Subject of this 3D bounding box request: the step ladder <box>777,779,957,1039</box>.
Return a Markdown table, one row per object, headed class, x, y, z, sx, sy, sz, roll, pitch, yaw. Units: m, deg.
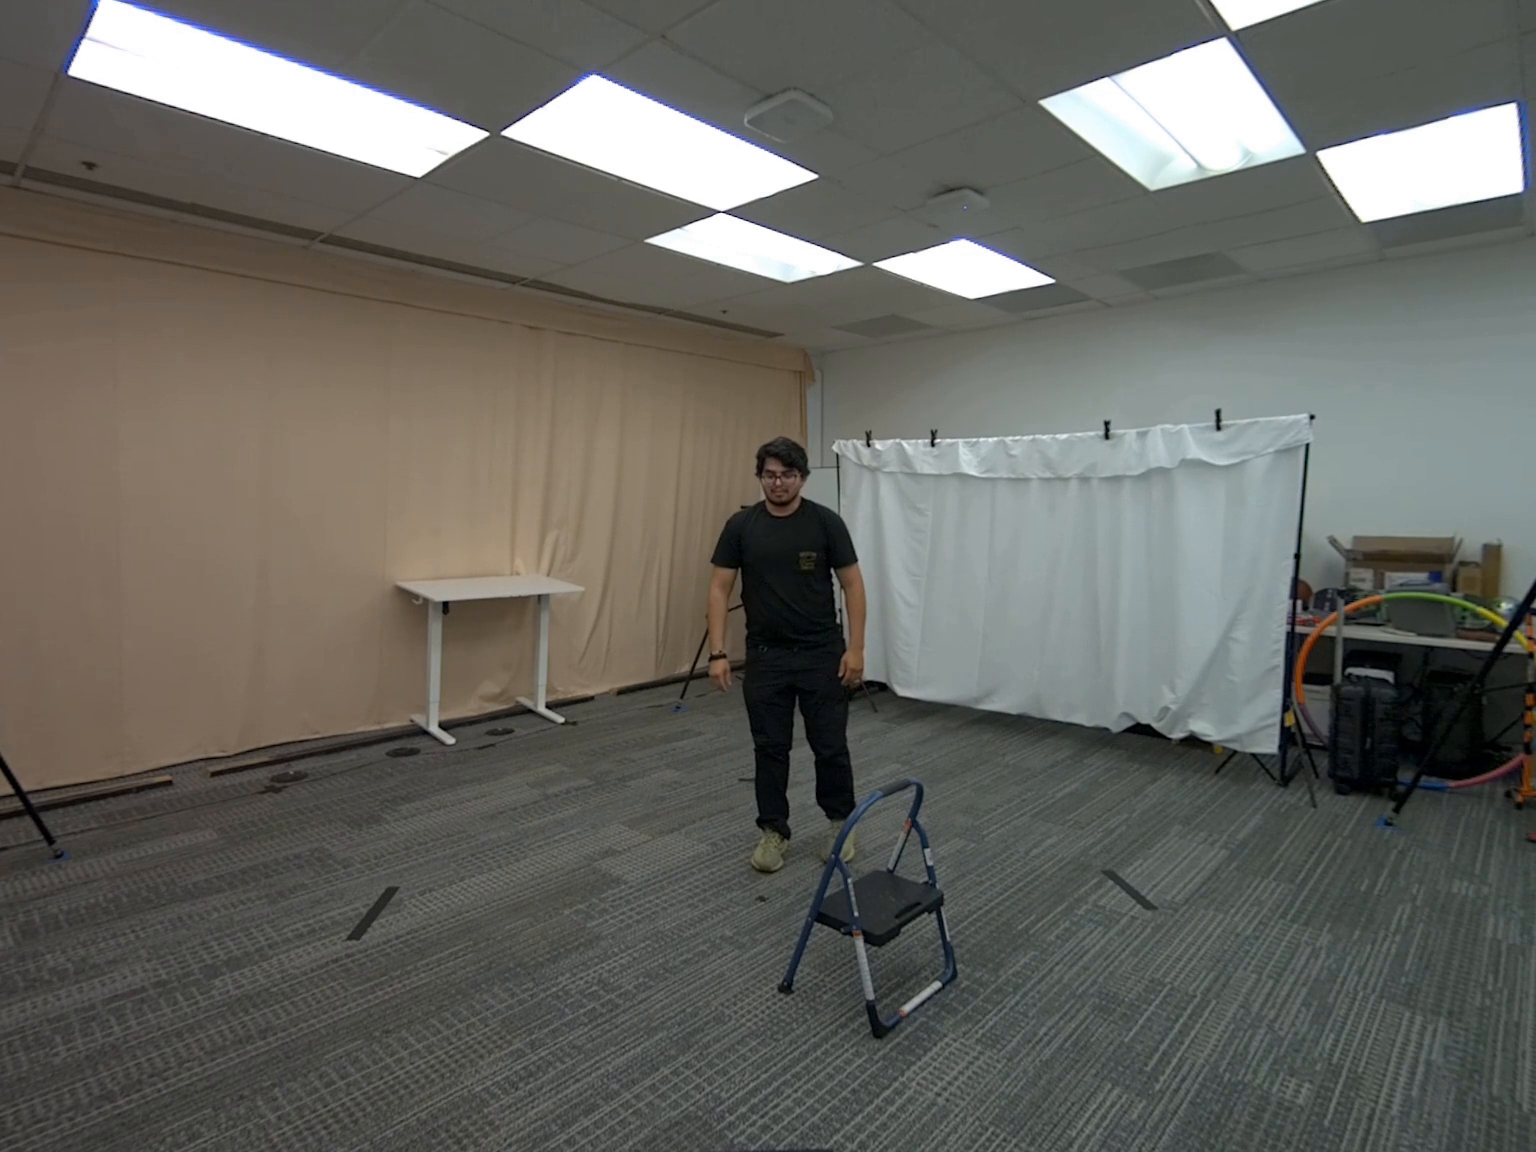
| class | x | y | z | sx | sy | sz | roll | pitch | yaw |
| --- | --- | --- | --- | --- | --- | --- | --- | --- | --- |
| step ladder | 0.300 | 0.887 | 2.434 | 0.361 | 0.604 | 0.418 | 4 | 7 | 41 |
